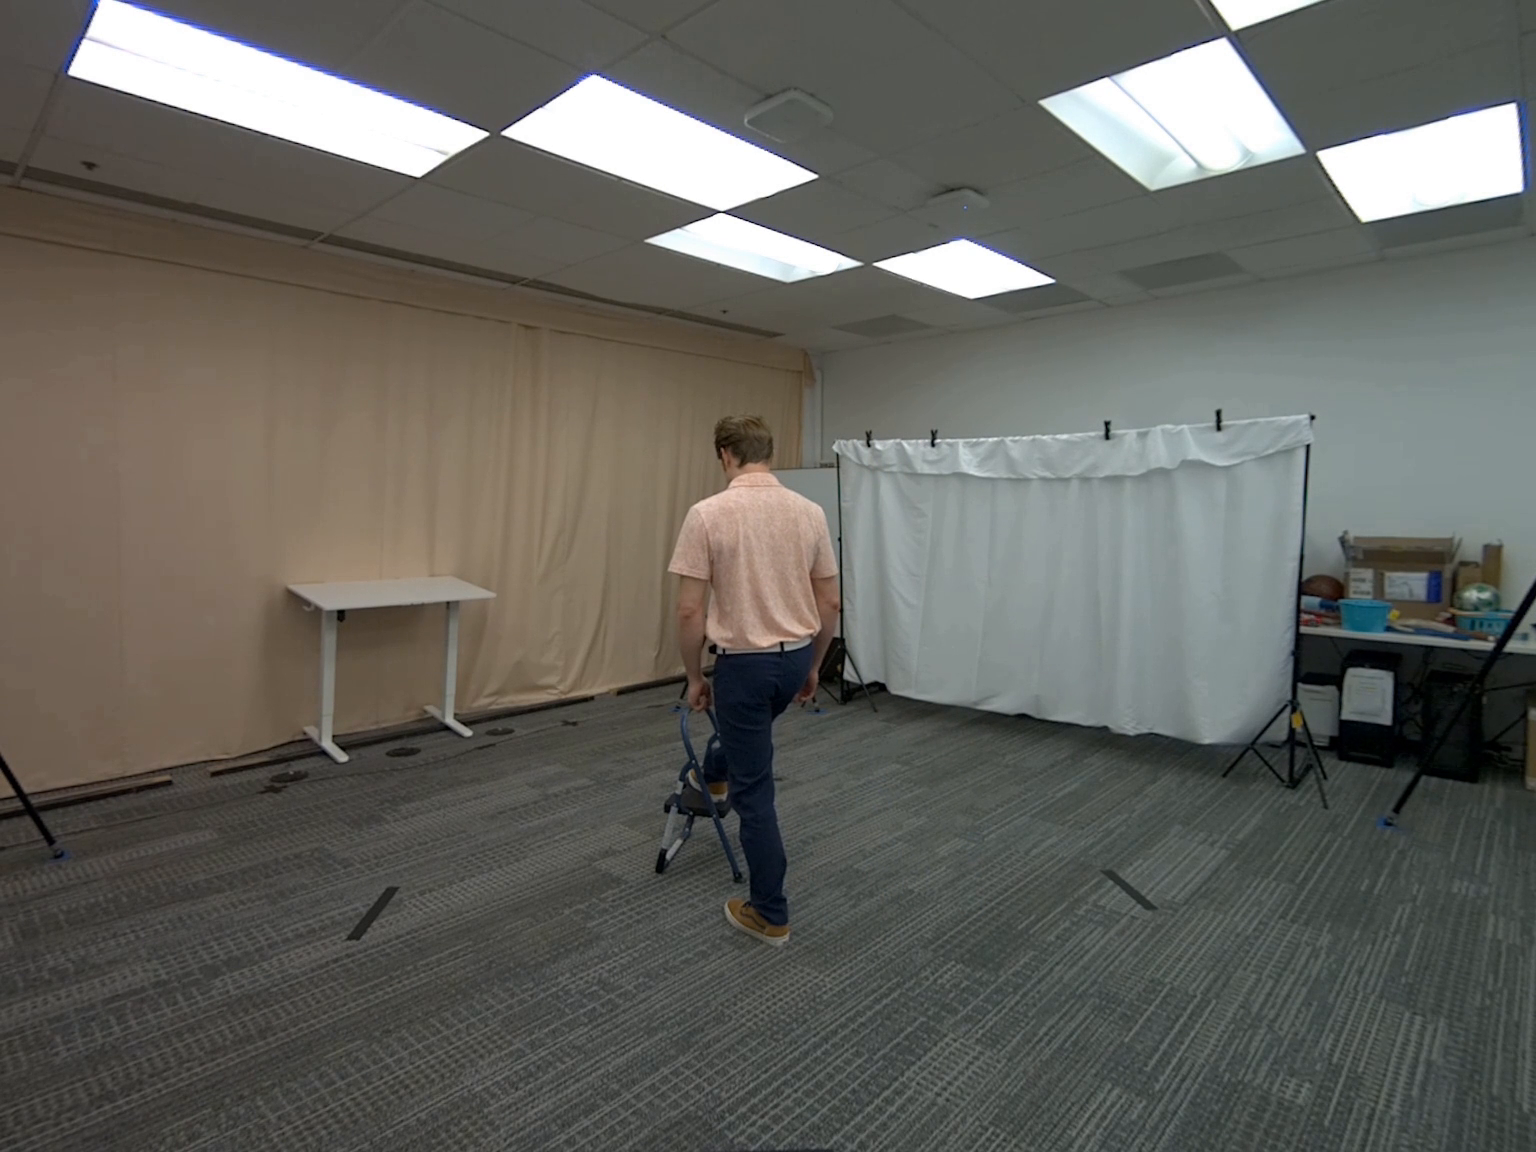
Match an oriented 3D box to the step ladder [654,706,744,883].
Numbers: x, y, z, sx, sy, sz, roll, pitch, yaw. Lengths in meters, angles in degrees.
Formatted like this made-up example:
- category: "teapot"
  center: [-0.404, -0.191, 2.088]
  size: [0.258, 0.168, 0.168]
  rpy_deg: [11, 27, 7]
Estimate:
- category: "step ladder"
  center: [-0.228, 0.816, 3.338]
  size: [0.354, 0.605, 0.426]
  rpy_deg: [0, 3, 11]
